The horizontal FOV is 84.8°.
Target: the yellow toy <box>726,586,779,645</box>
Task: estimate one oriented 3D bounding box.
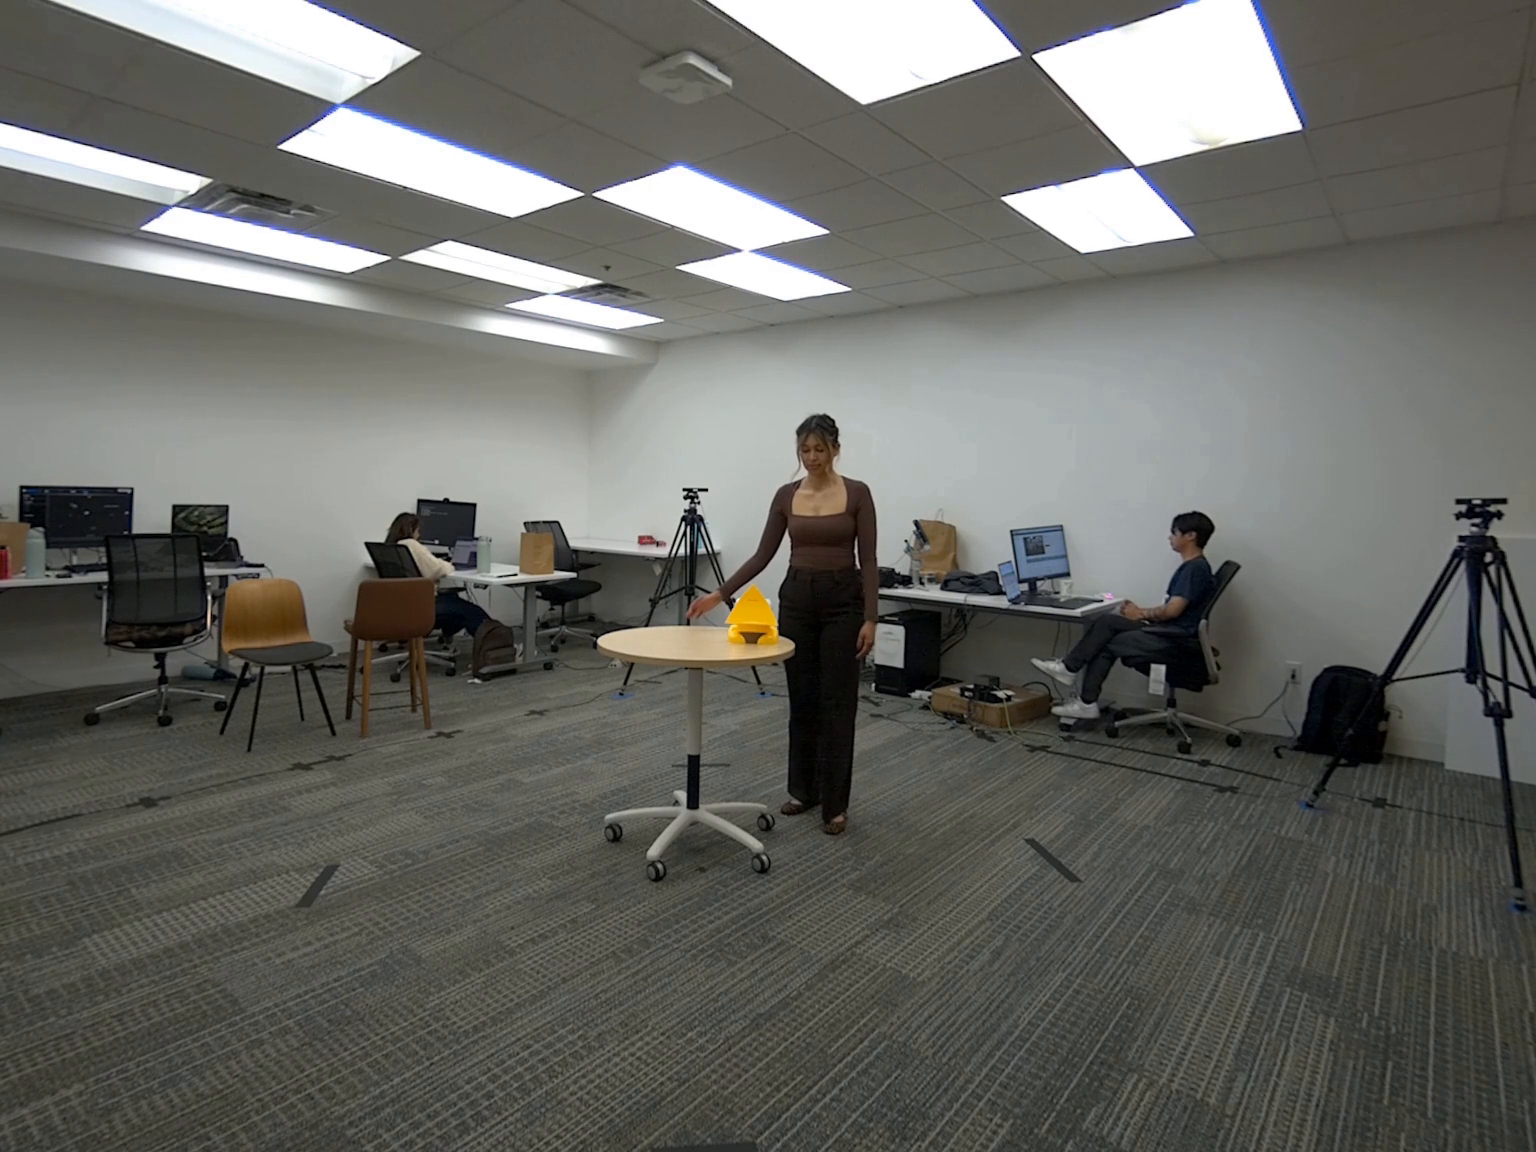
[{"bbox_3d":[-0.067,0.135,3.349,0.206,0.230,0.192,2,4,5],"label":"yellow toy"}]
